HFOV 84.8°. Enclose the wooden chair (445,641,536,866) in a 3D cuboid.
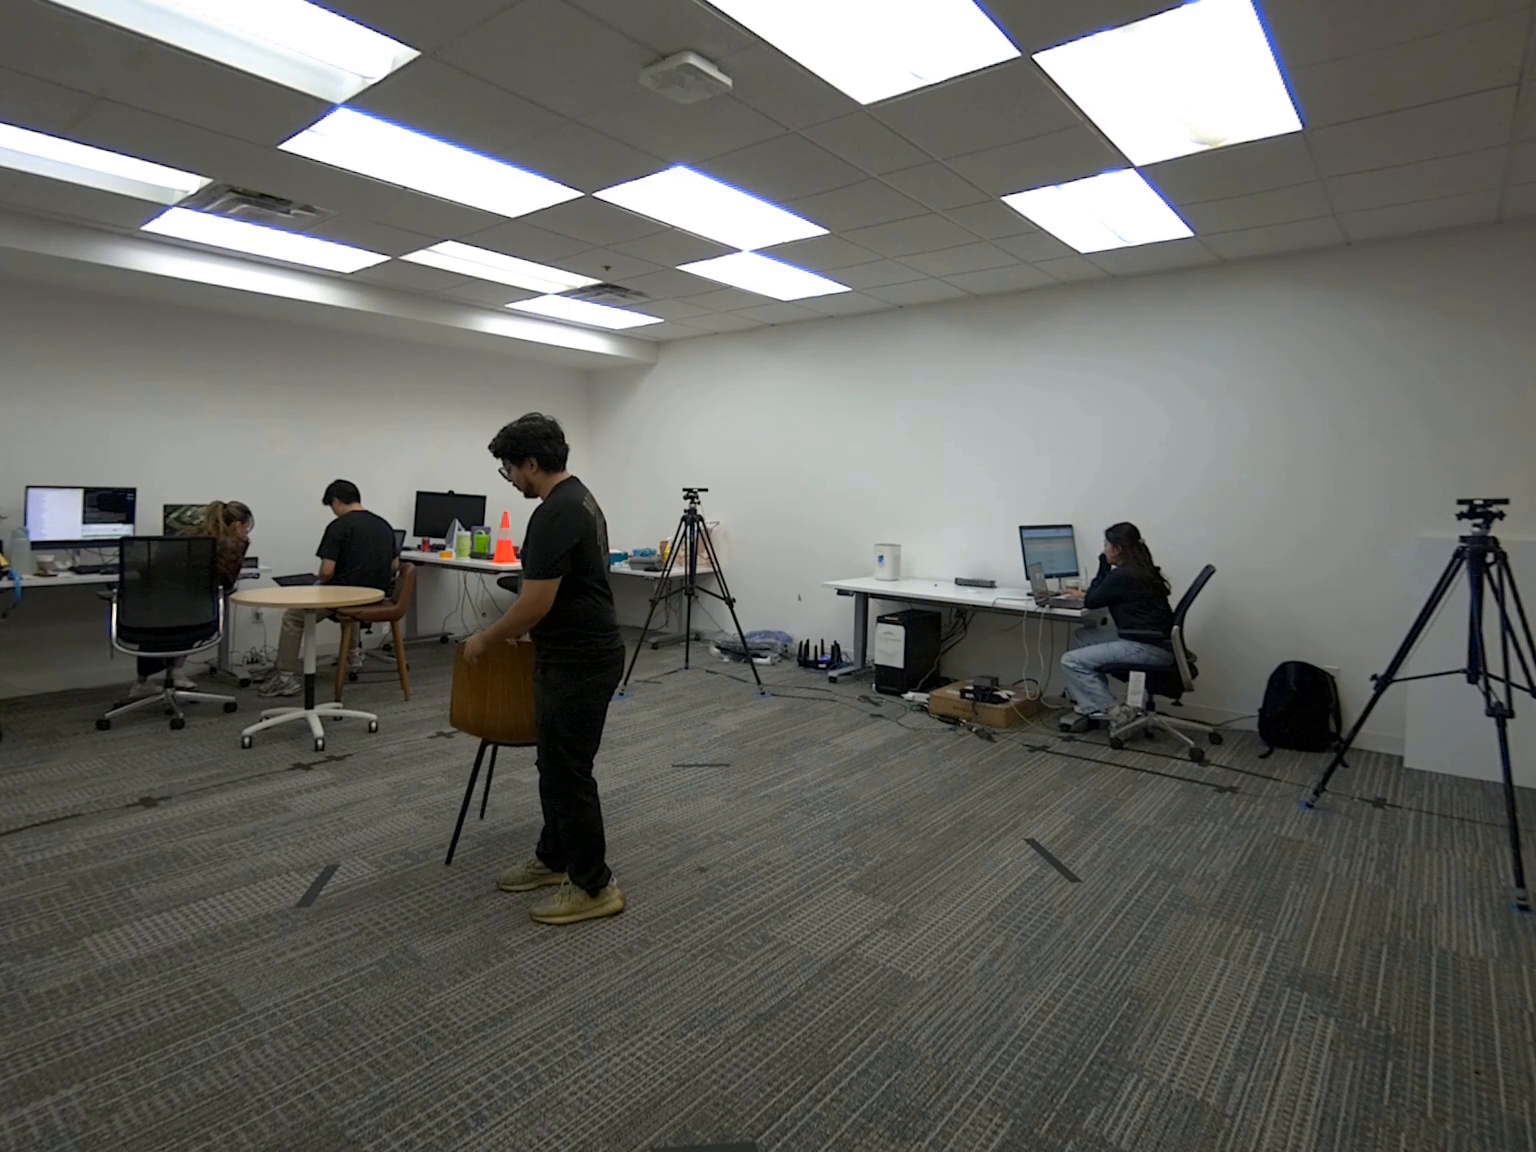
[{"bbox_3d":[-0.974,0.614,3.308,0.479,0.872,0.526,1,7,0],"label":"wooden chair"}]
